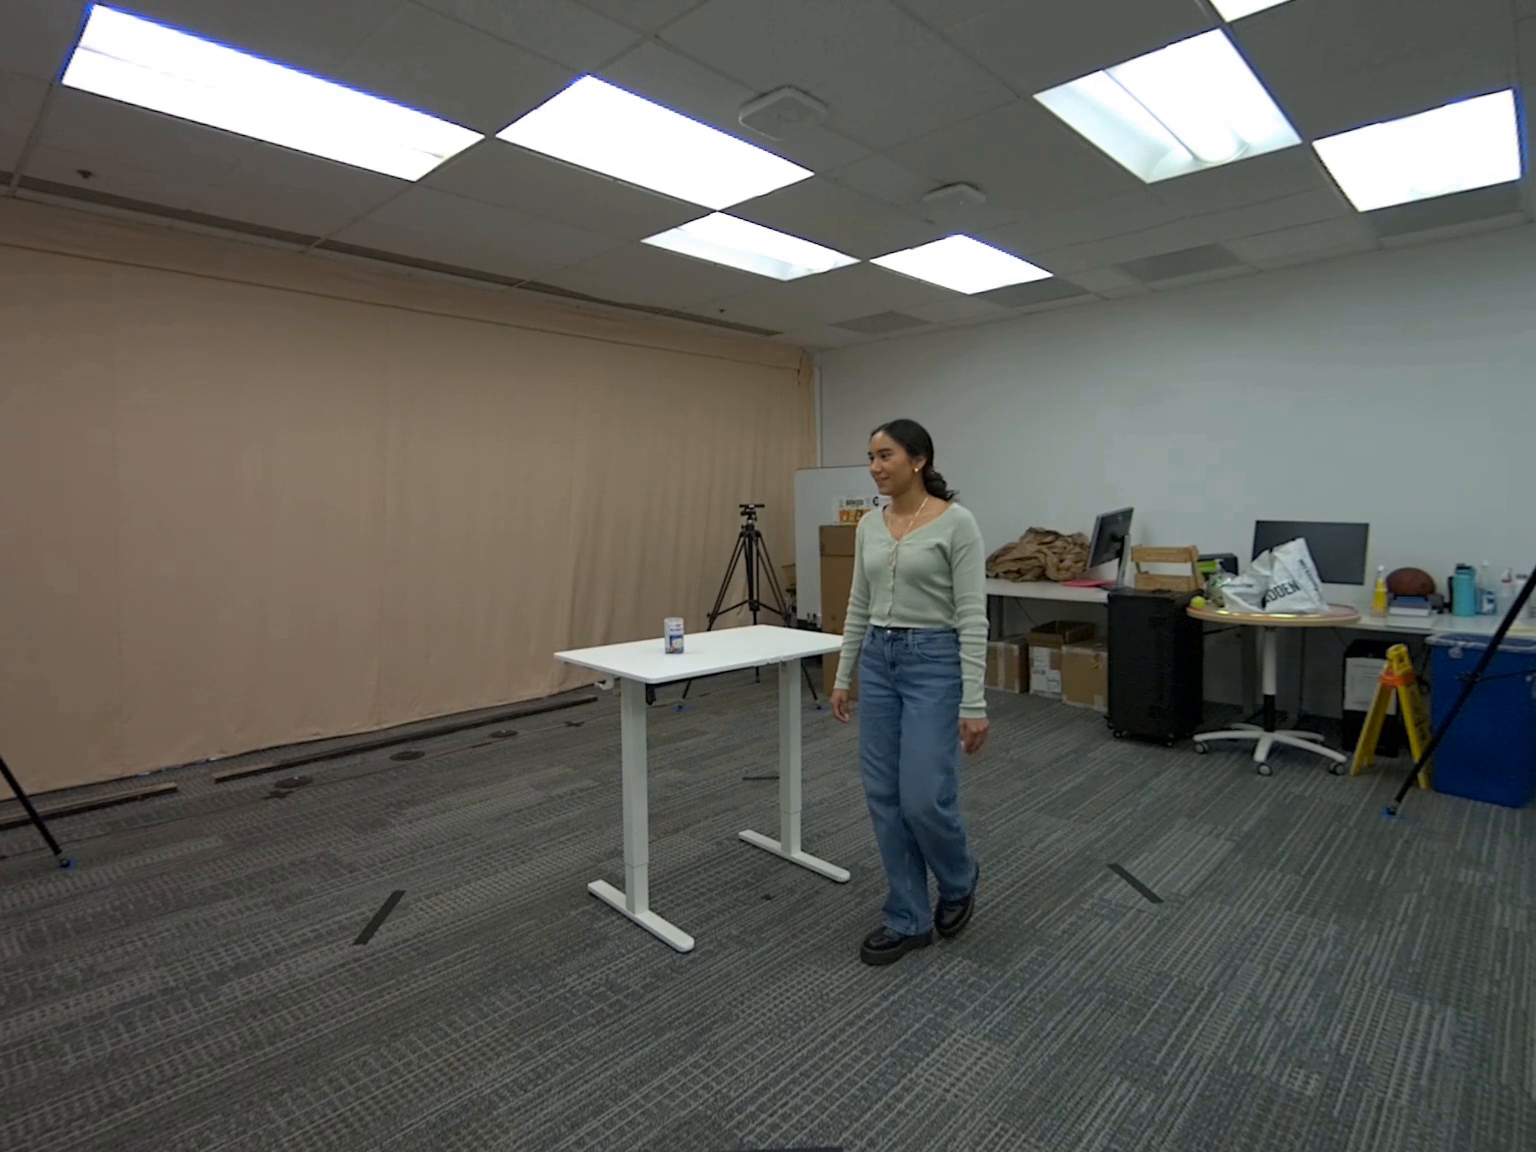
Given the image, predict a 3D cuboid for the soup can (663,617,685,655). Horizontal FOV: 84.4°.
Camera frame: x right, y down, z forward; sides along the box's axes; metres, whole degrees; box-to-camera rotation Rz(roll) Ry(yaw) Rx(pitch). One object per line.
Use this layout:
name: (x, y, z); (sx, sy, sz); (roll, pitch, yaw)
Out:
soup can: (-0.330, 0.211, 2.913); (0.067, 0.121, 0.067); (-3, 4, -2)
